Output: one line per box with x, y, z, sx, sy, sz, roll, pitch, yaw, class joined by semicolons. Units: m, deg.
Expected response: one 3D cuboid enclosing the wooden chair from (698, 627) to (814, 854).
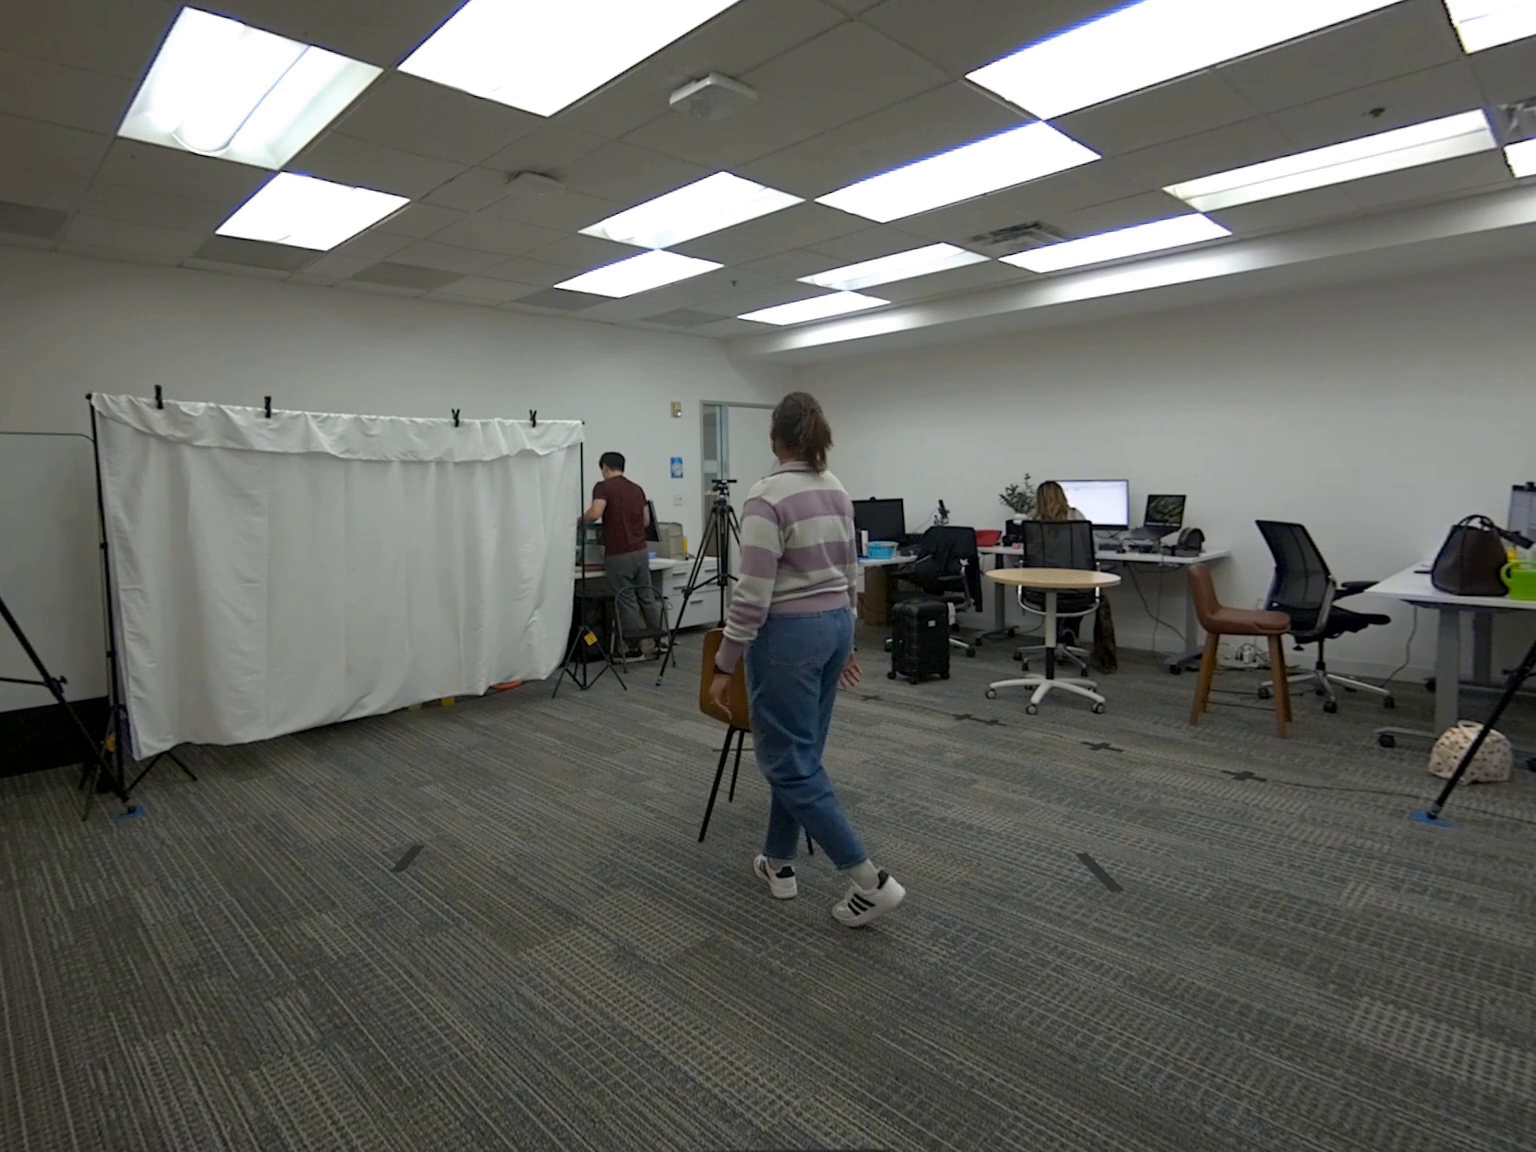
-0.002;0.583;3.429;0.485;0.871;0.519;0;8;15;wooden chair
